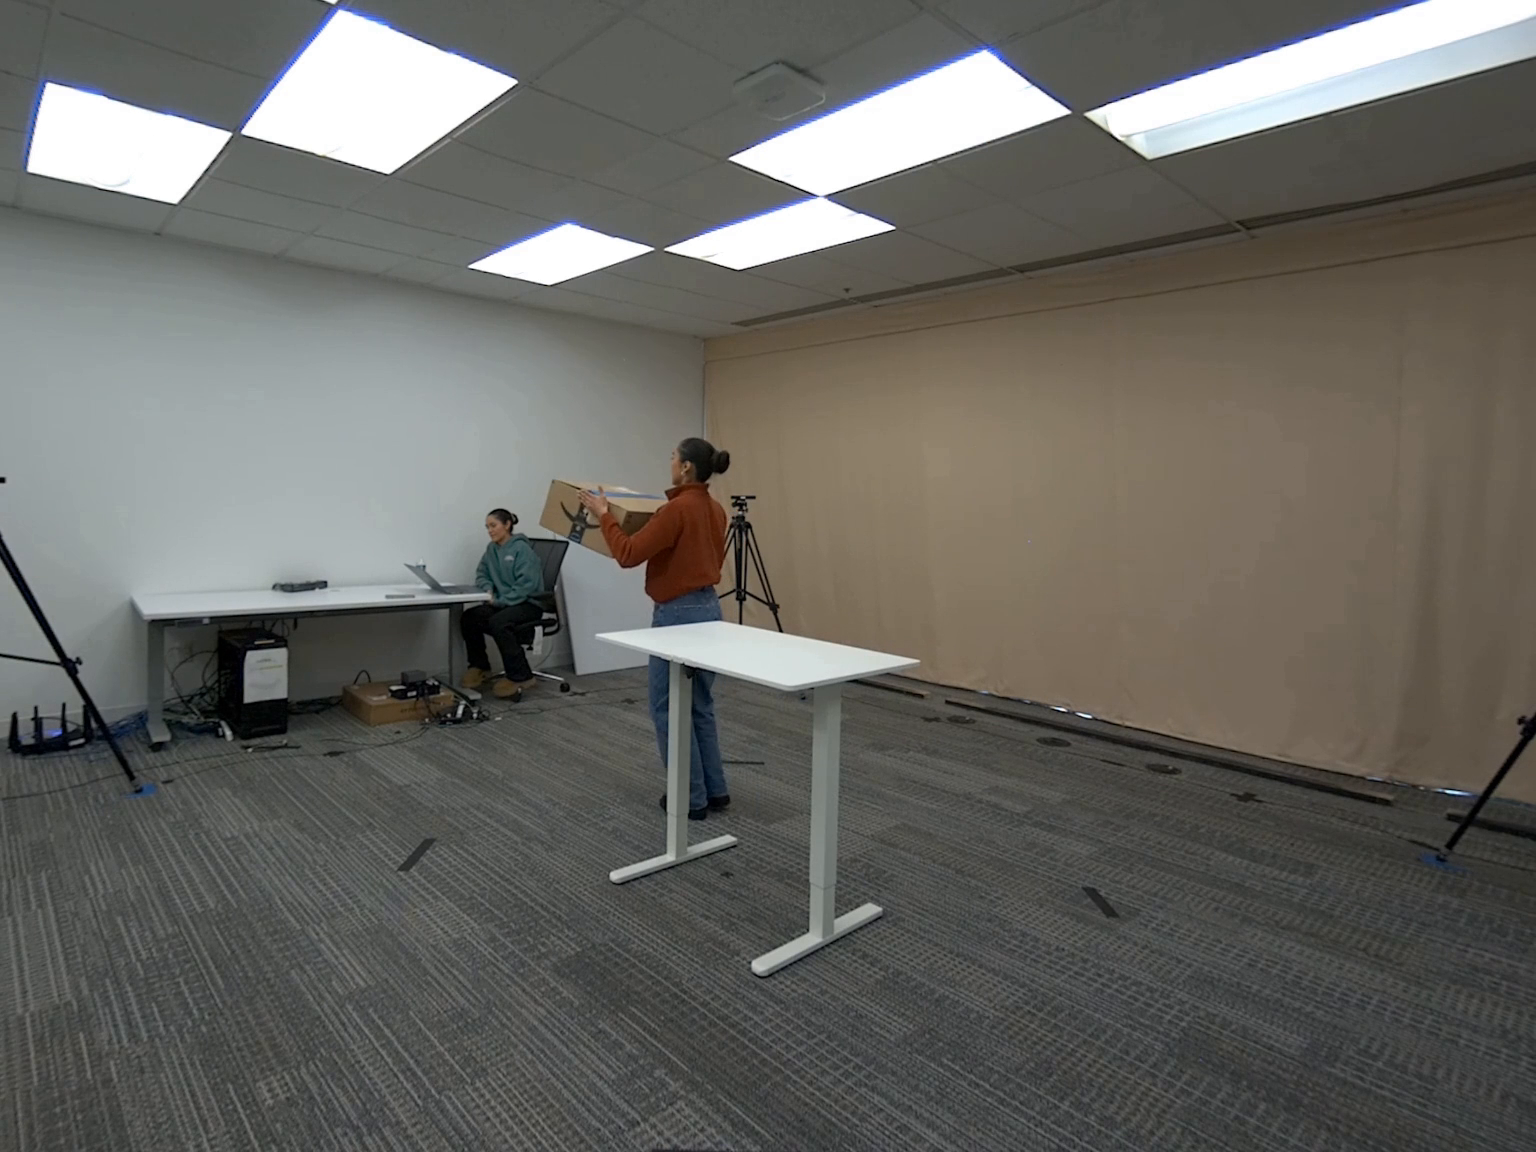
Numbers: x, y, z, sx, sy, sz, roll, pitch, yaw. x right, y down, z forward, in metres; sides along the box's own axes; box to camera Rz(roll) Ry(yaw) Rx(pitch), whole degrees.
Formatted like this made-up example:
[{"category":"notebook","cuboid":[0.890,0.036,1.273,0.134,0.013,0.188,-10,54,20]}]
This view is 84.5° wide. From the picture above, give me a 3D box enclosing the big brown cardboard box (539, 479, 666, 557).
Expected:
[{"category":"big brown cardboard box","cuboid":[-0.688,-0.261,3.841,0.426,0.232,0.579,21,11,22]}]
